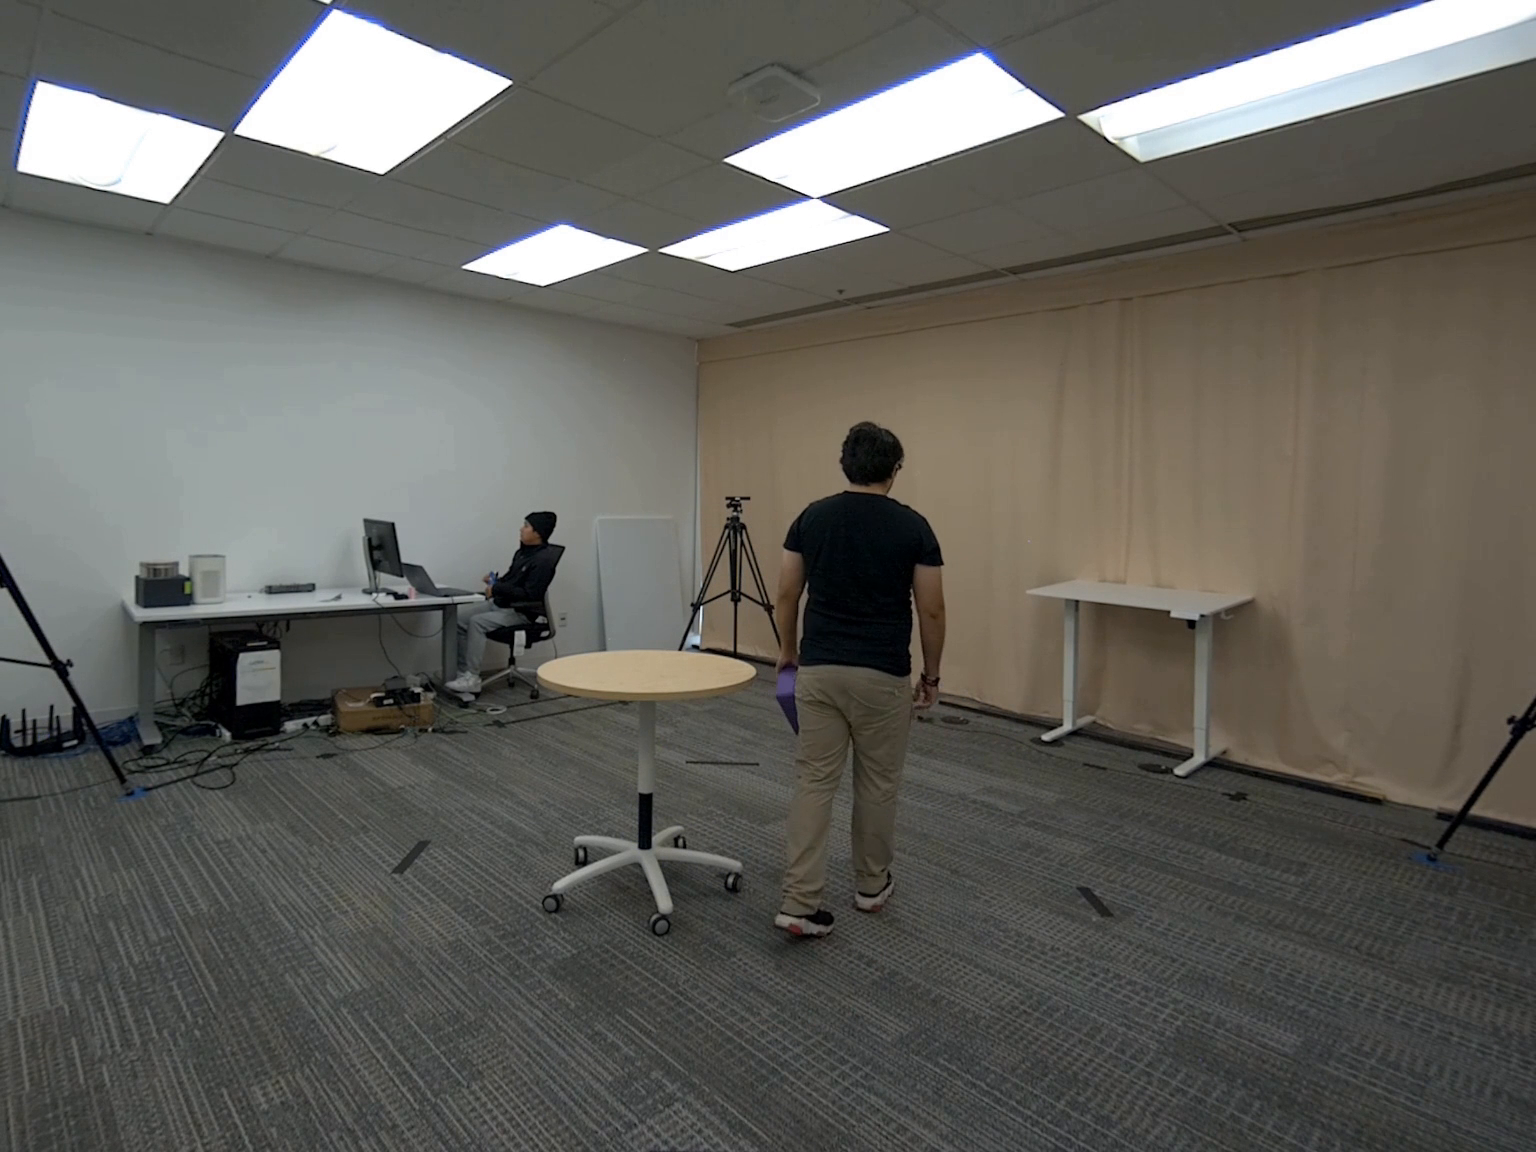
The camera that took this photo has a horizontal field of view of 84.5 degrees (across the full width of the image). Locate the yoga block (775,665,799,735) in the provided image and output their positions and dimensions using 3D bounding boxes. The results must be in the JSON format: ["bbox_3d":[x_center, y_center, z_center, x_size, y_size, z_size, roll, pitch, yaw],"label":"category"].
[{"bbox_3d":[0.099,0.454,3.074,0.077,0.223,0.151,-13,34,18],"label":"yoga block"}]
